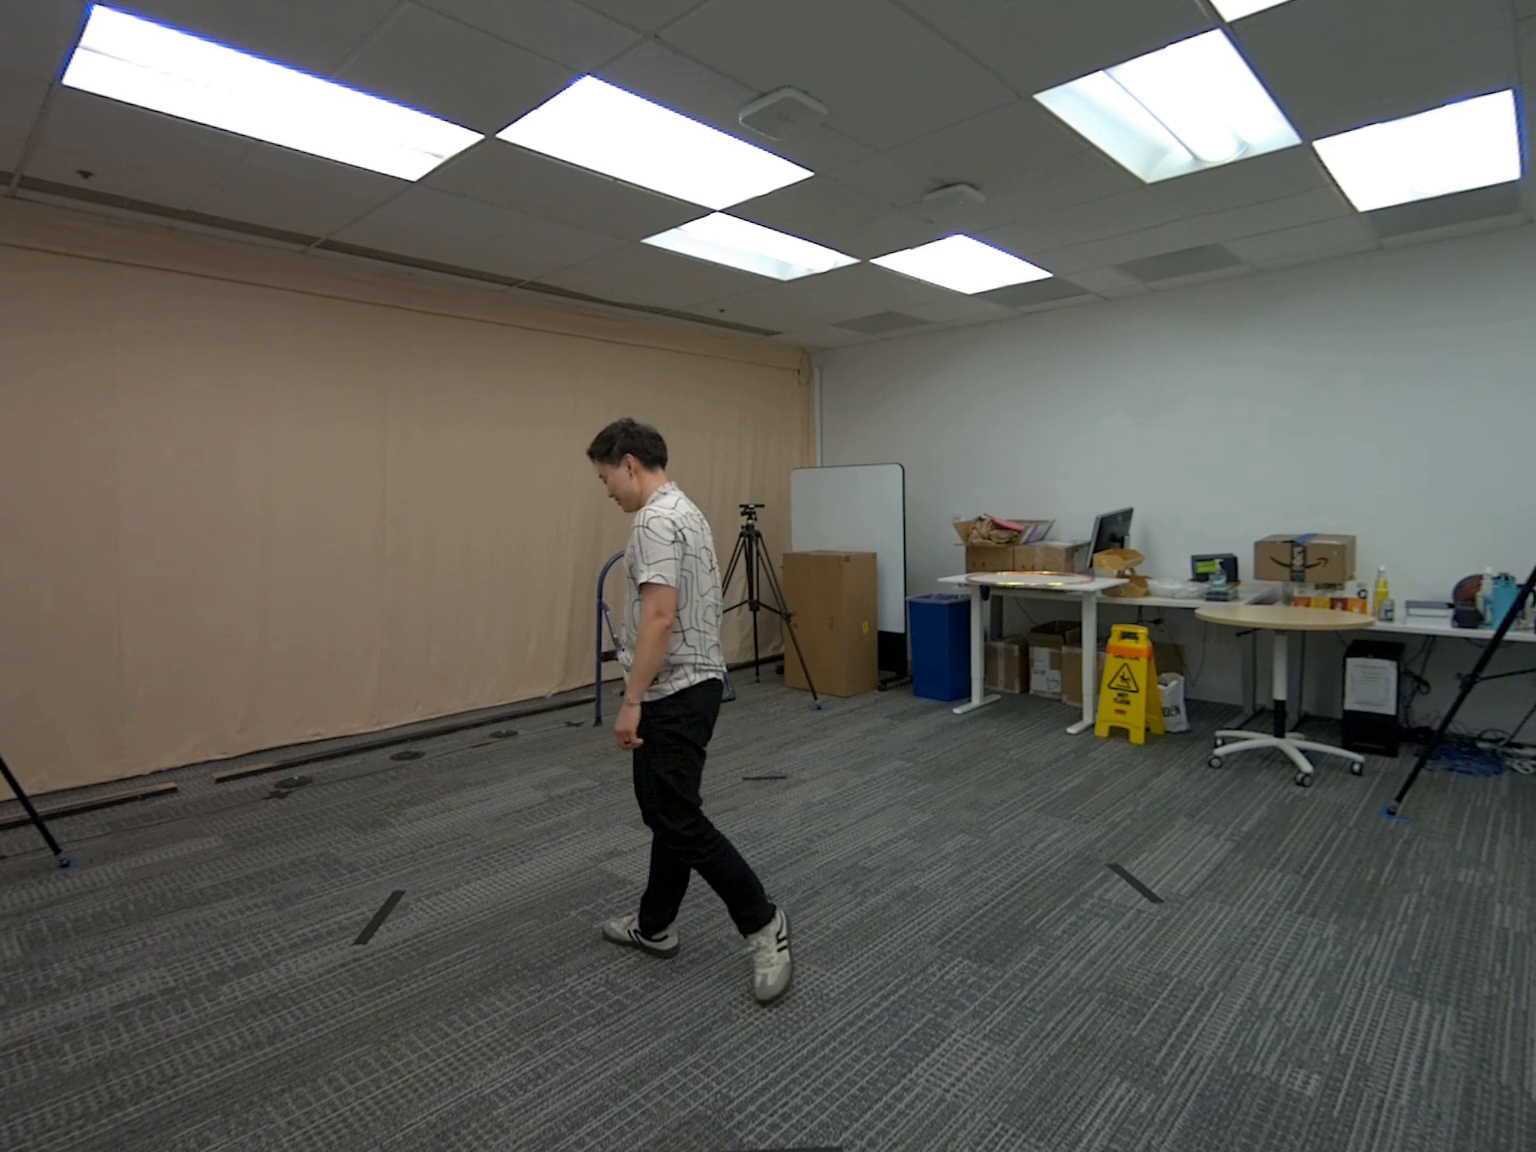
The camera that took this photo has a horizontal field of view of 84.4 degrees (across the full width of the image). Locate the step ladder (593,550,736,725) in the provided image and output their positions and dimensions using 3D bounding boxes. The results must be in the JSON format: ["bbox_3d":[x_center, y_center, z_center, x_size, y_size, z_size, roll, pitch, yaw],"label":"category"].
[{"bbox_3d":[-0.429,0.198,3.086,0.418,0.608,0.358,-8,-4,-39],"label":"step ladder"}]
